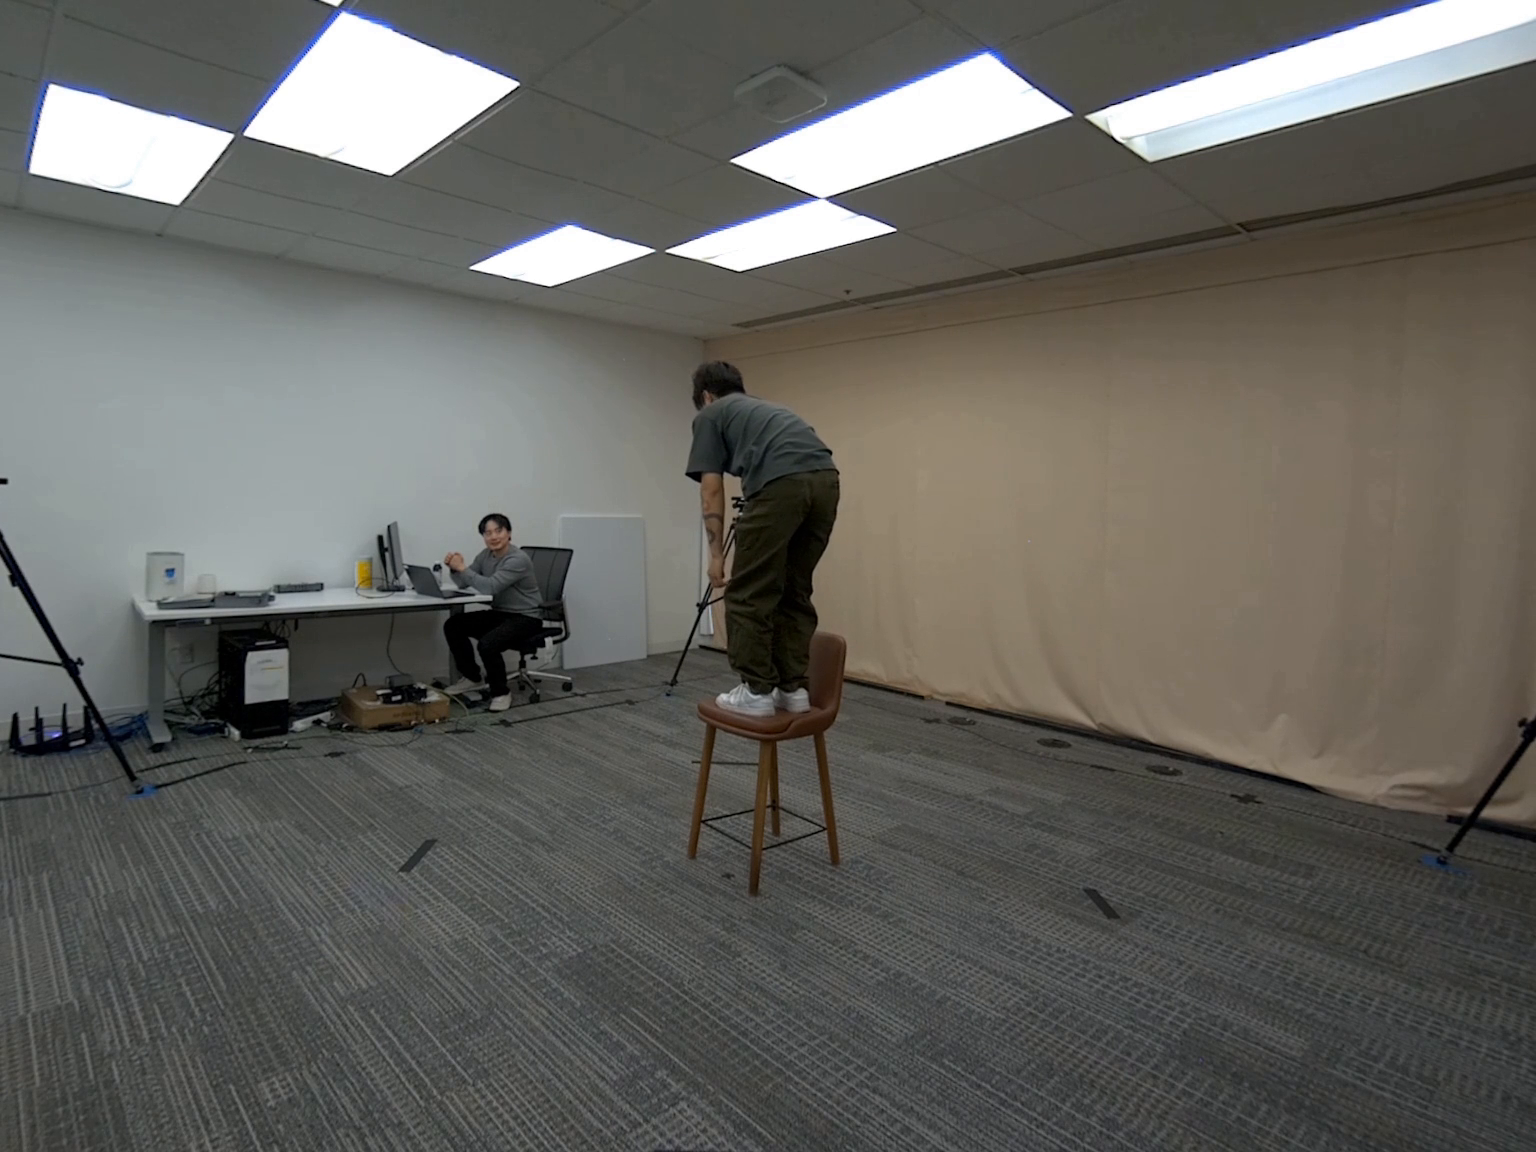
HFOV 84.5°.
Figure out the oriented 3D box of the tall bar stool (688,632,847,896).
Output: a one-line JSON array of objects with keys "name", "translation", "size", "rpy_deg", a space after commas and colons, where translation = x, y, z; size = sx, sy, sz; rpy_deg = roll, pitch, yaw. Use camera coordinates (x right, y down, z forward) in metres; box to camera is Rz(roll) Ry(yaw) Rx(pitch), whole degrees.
[{"name": "tall bar stool", "translation": [-0.004, 0.663, 3.219], "size": [0.456, 0.888, 0.468], "rpy_deg": [1, 3, -40]}]
